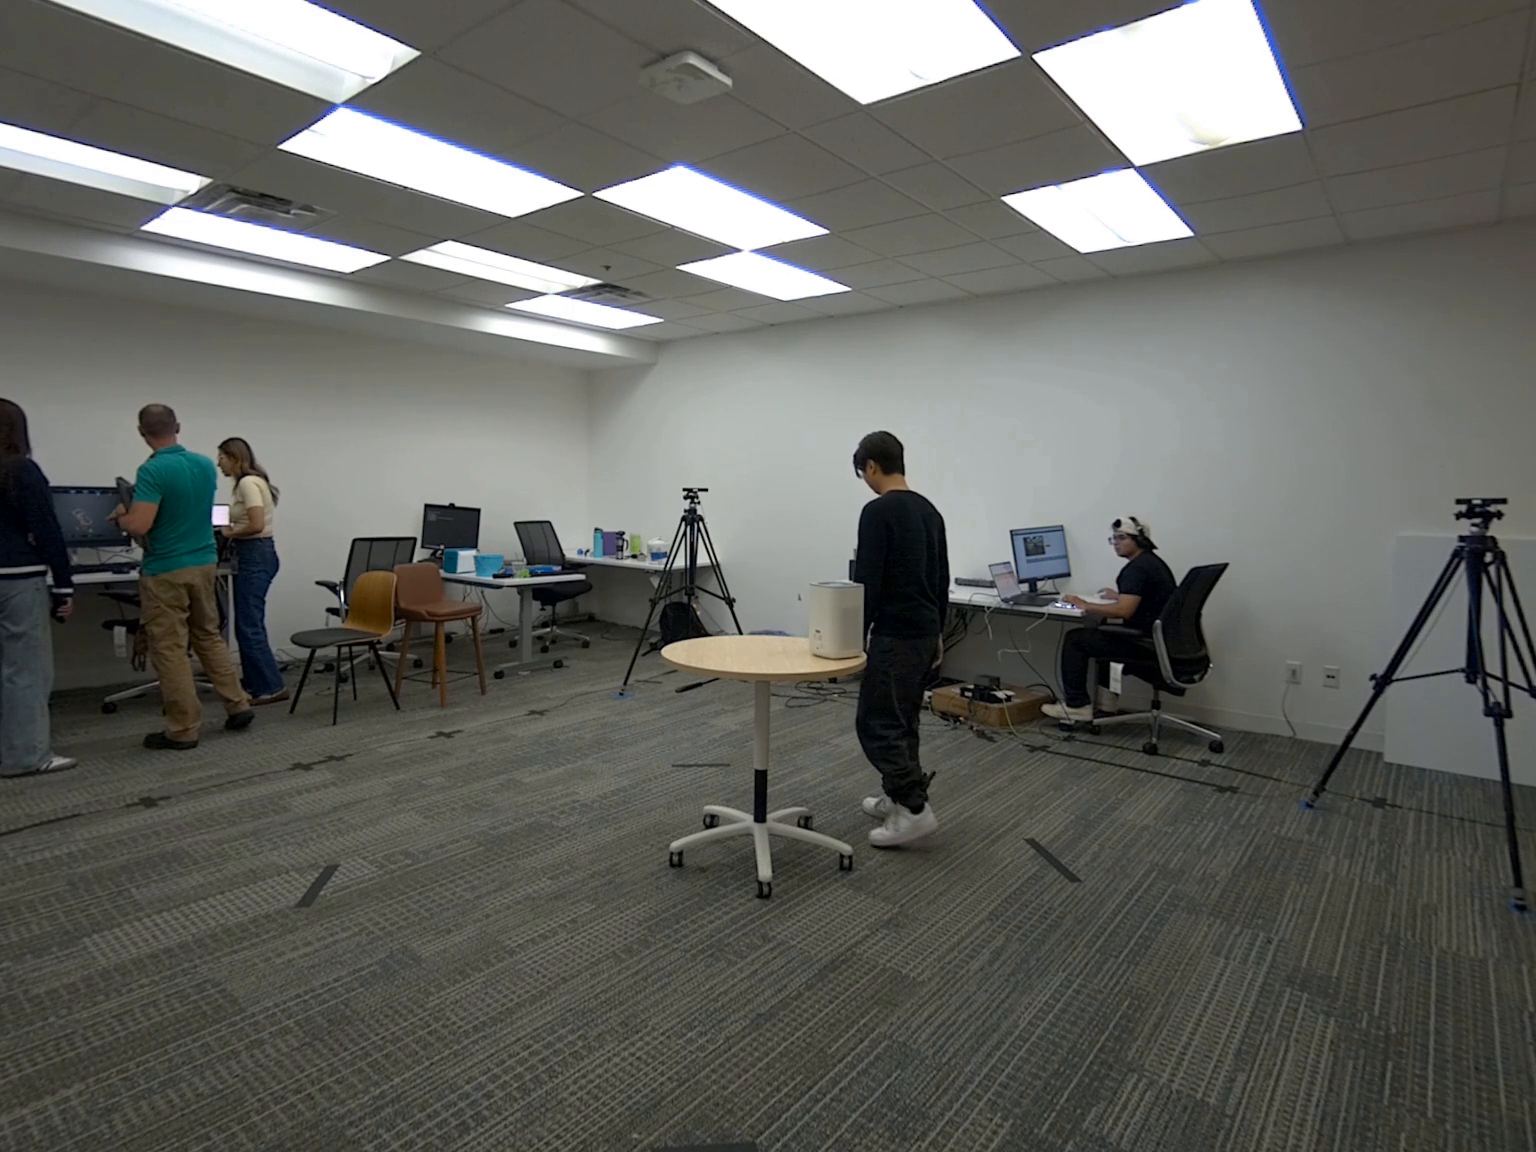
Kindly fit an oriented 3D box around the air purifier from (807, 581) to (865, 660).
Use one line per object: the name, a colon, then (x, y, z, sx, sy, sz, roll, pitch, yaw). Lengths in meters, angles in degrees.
air purifier: (0.243, 0.157, 3.131, 0.166, 0.265, 0.176, -1, 3, -35)
